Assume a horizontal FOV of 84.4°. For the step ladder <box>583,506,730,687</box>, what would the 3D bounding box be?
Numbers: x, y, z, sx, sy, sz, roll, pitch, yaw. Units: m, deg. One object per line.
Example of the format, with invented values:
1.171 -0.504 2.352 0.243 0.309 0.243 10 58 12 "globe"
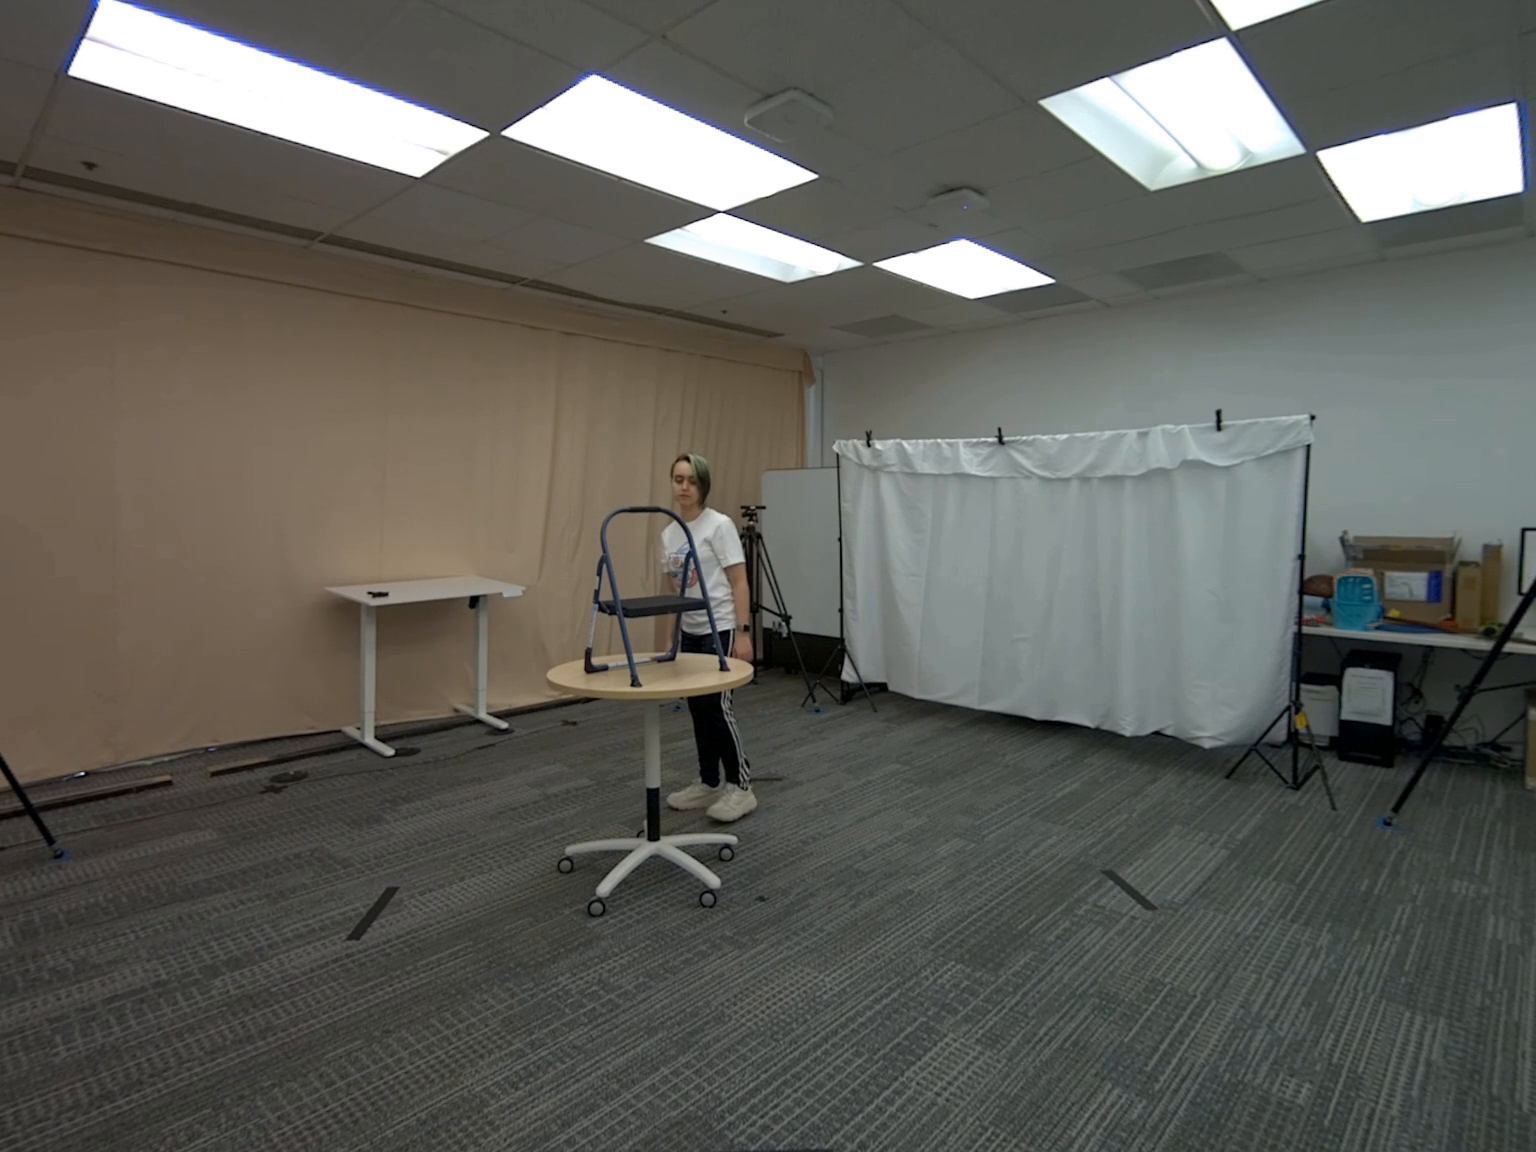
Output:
-0.416 0.054 3.077 0.417 0.605 0.361 -3 3 -42 "step ladder"
